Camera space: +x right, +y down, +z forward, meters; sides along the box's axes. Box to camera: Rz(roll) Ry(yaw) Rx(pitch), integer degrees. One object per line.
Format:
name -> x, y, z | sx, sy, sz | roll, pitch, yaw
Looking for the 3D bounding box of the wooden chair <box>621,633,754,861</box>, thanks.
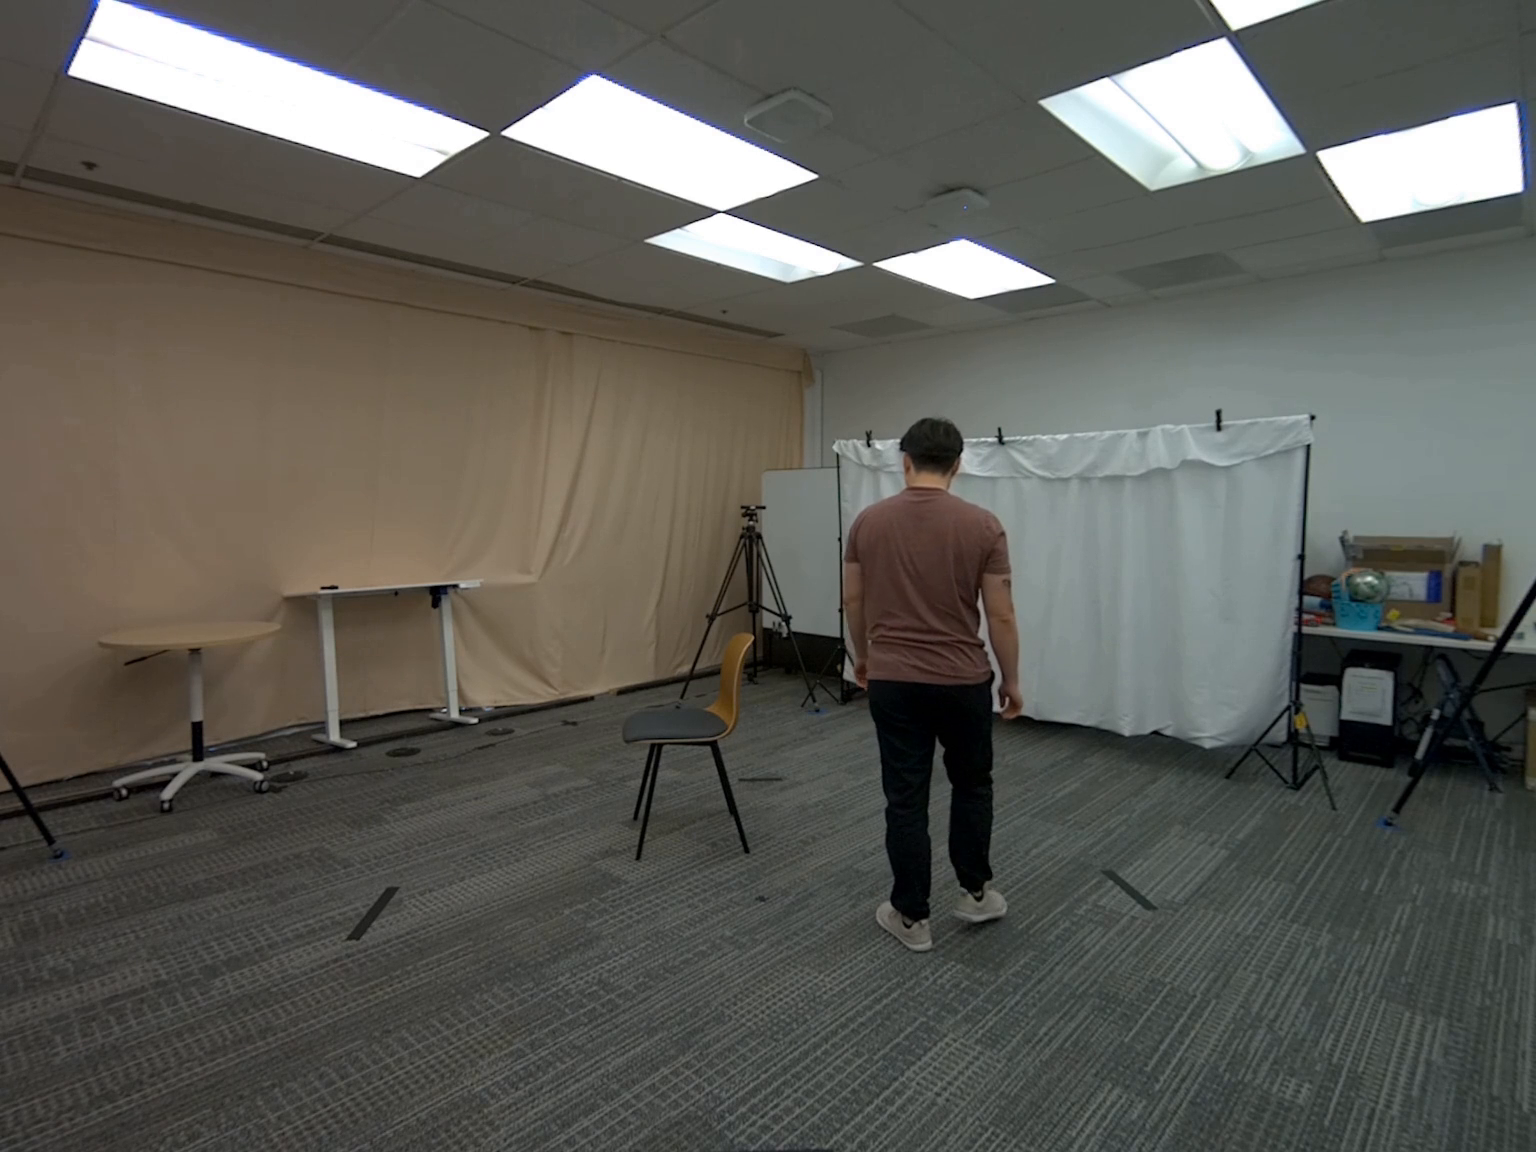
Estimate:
wooden chair -> -0.349, 0.671, 3.522 | 0.518, 0.876, 0.484 | 3, 3, -10
